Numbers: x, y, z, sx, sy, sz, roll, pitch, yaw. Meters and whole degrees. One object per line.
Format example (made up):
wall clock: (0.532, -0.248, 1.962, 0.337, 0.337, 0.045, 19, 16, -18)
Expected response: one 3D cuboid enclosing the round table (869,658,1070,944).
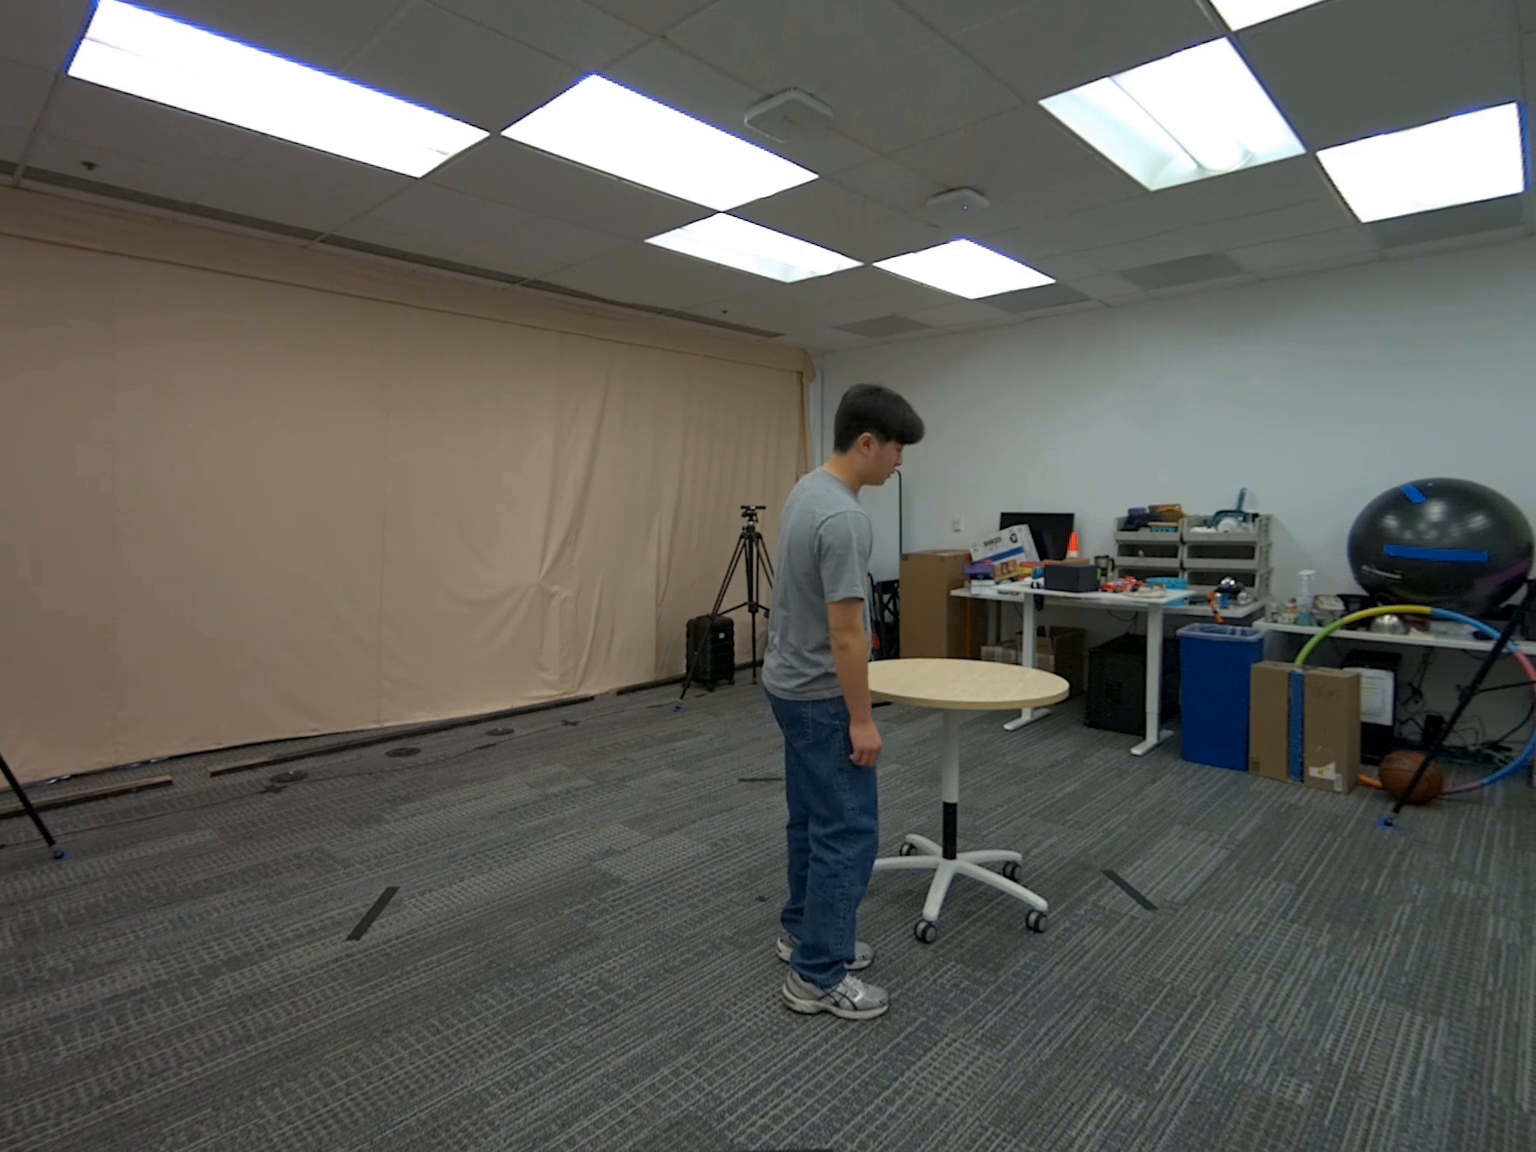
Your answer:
round table: (0.652, 0.753, 2.983, 0.763, 0.792, 0.766, 0, 3, -2)
